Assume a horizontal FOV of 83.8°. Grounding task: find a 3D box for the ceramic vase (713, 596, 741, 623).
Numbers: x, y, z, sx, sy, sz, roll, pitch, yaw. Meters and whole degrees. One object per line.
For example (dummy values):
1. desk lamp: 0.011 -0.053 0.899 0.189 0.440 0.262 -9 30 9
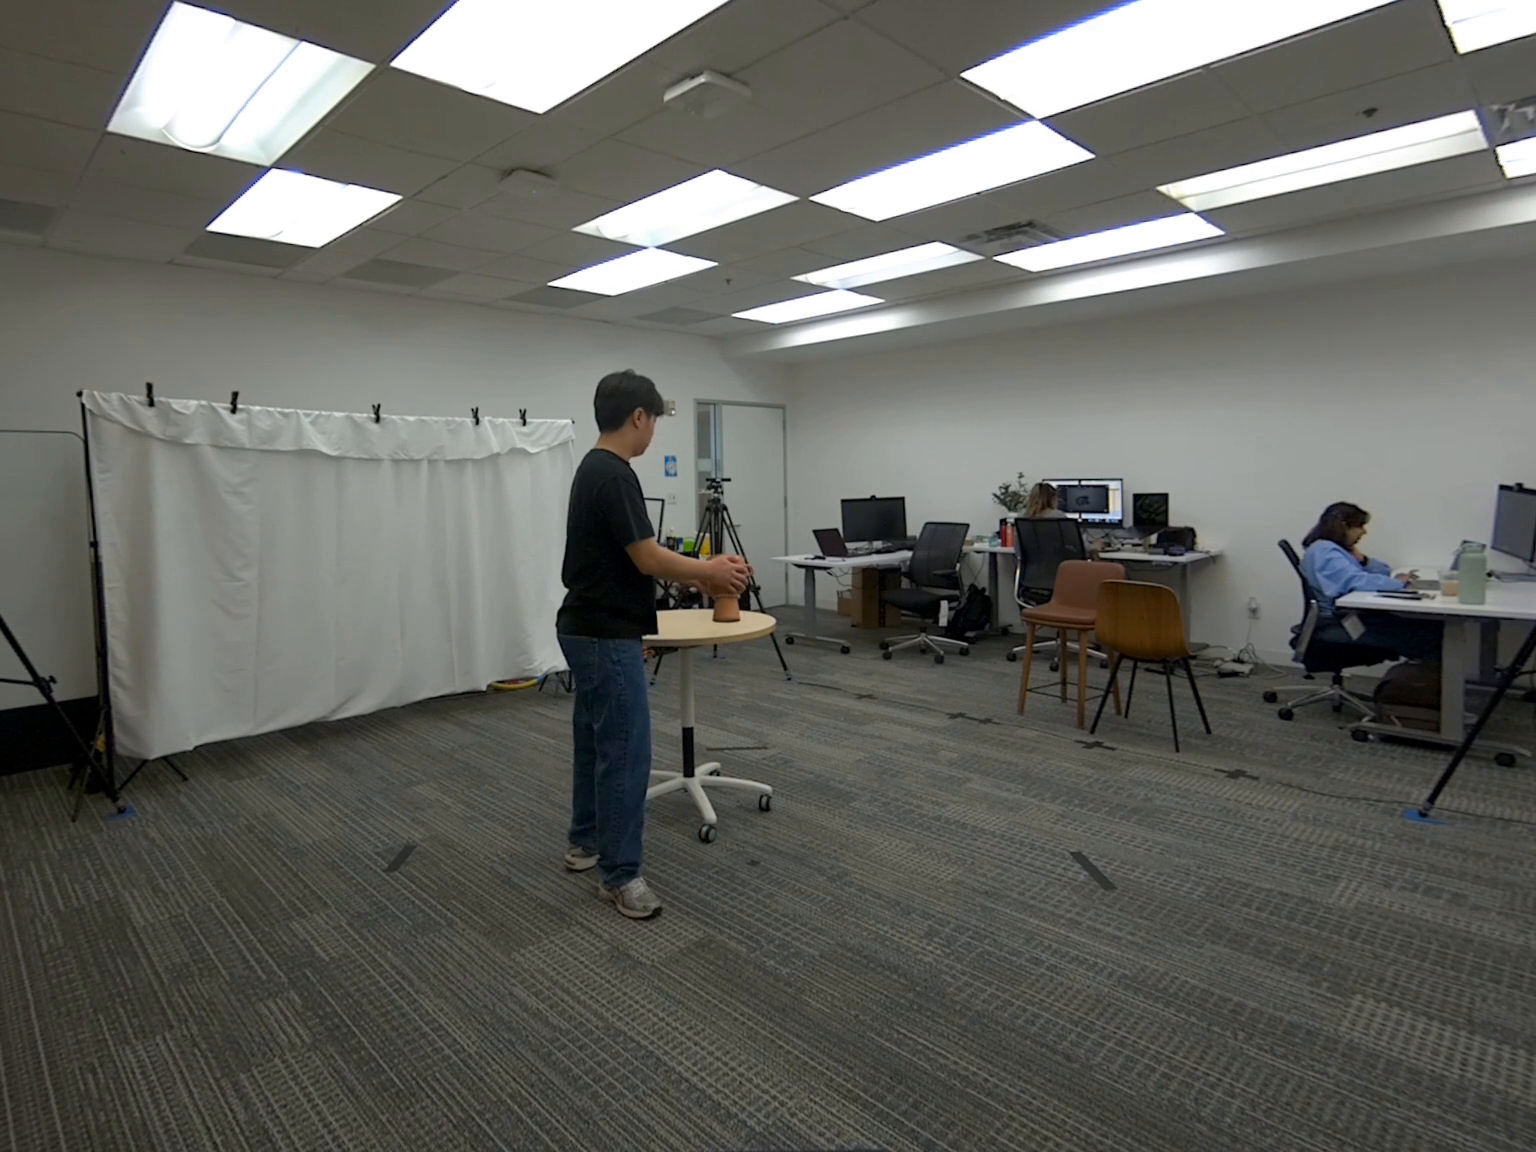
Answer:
1. ceramic vase: -0.158 0.051 2.947 0.162 0.222 0.130 -11 -15 37
